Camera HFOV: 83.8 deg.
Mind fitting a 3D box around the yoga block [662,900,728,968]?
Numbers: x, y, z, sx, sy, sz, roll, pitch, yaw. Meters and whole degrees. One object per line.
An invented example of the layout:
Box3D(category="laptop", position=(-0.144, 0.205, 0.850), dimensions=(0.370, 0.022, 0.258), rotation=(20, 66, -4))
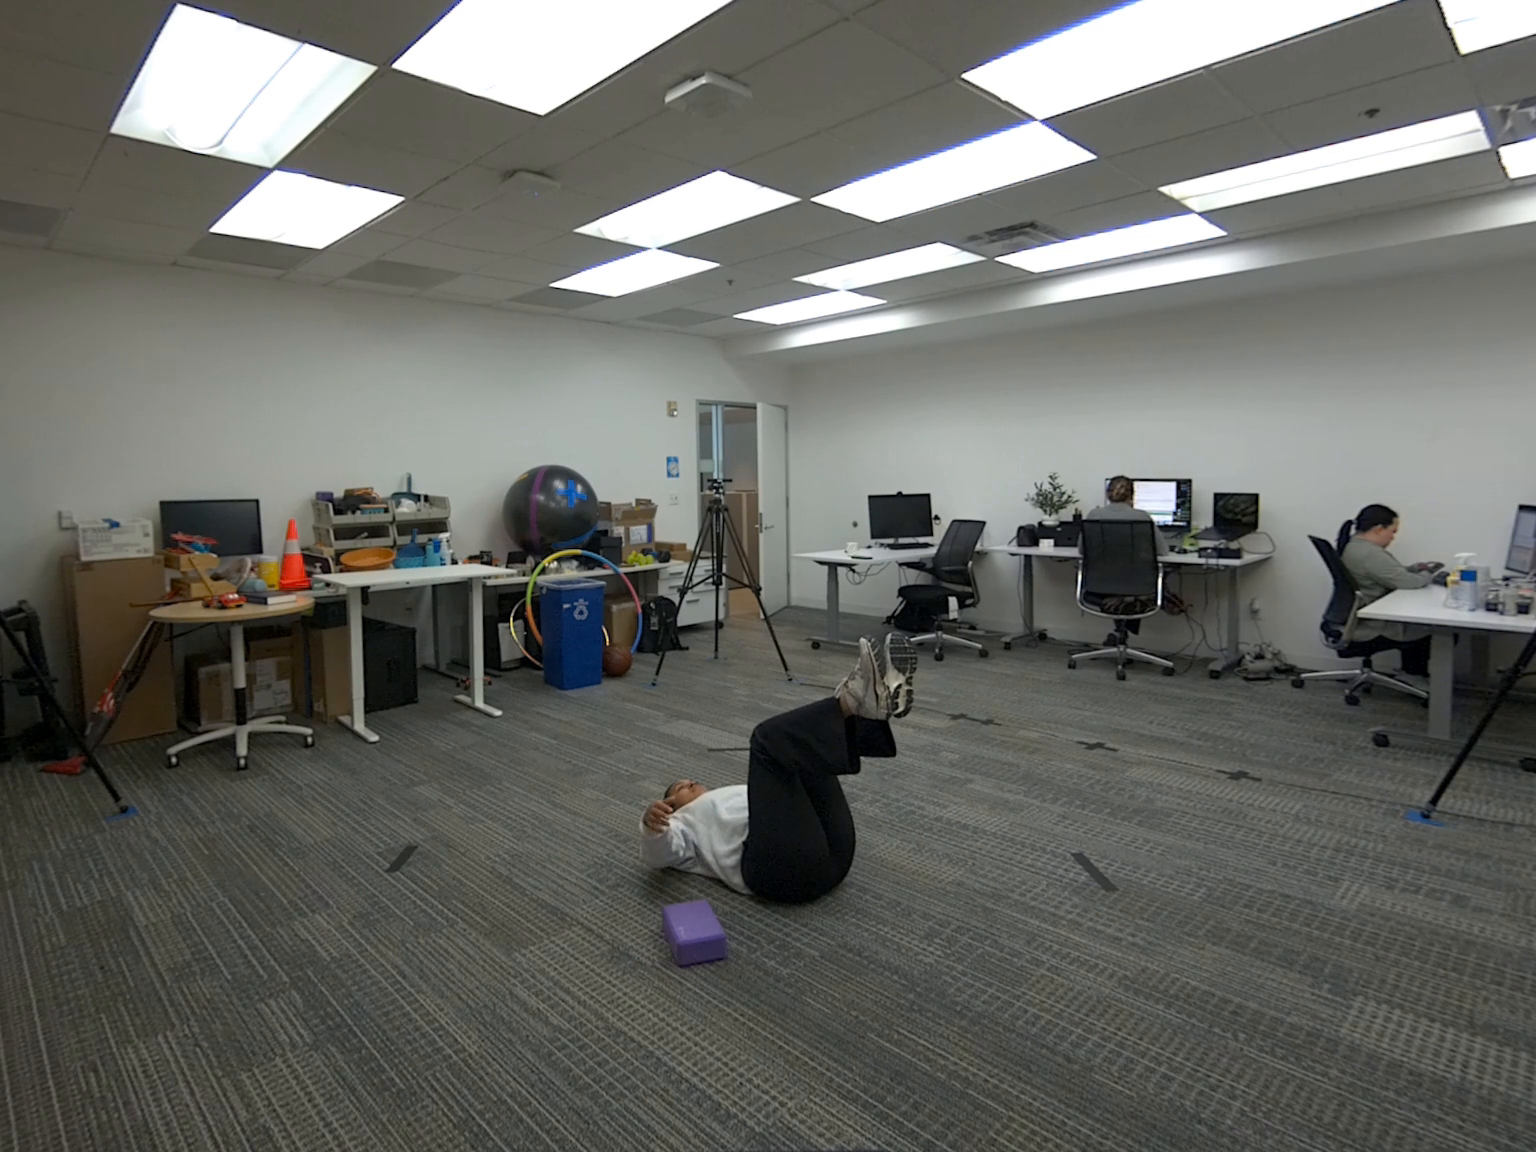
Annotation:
Box3D(category="yoga block", position=(-0.222, 1.069, 2.578), dimensions=(0.146, 0.076, 0.234), rotation=(-3, 7, -18))
